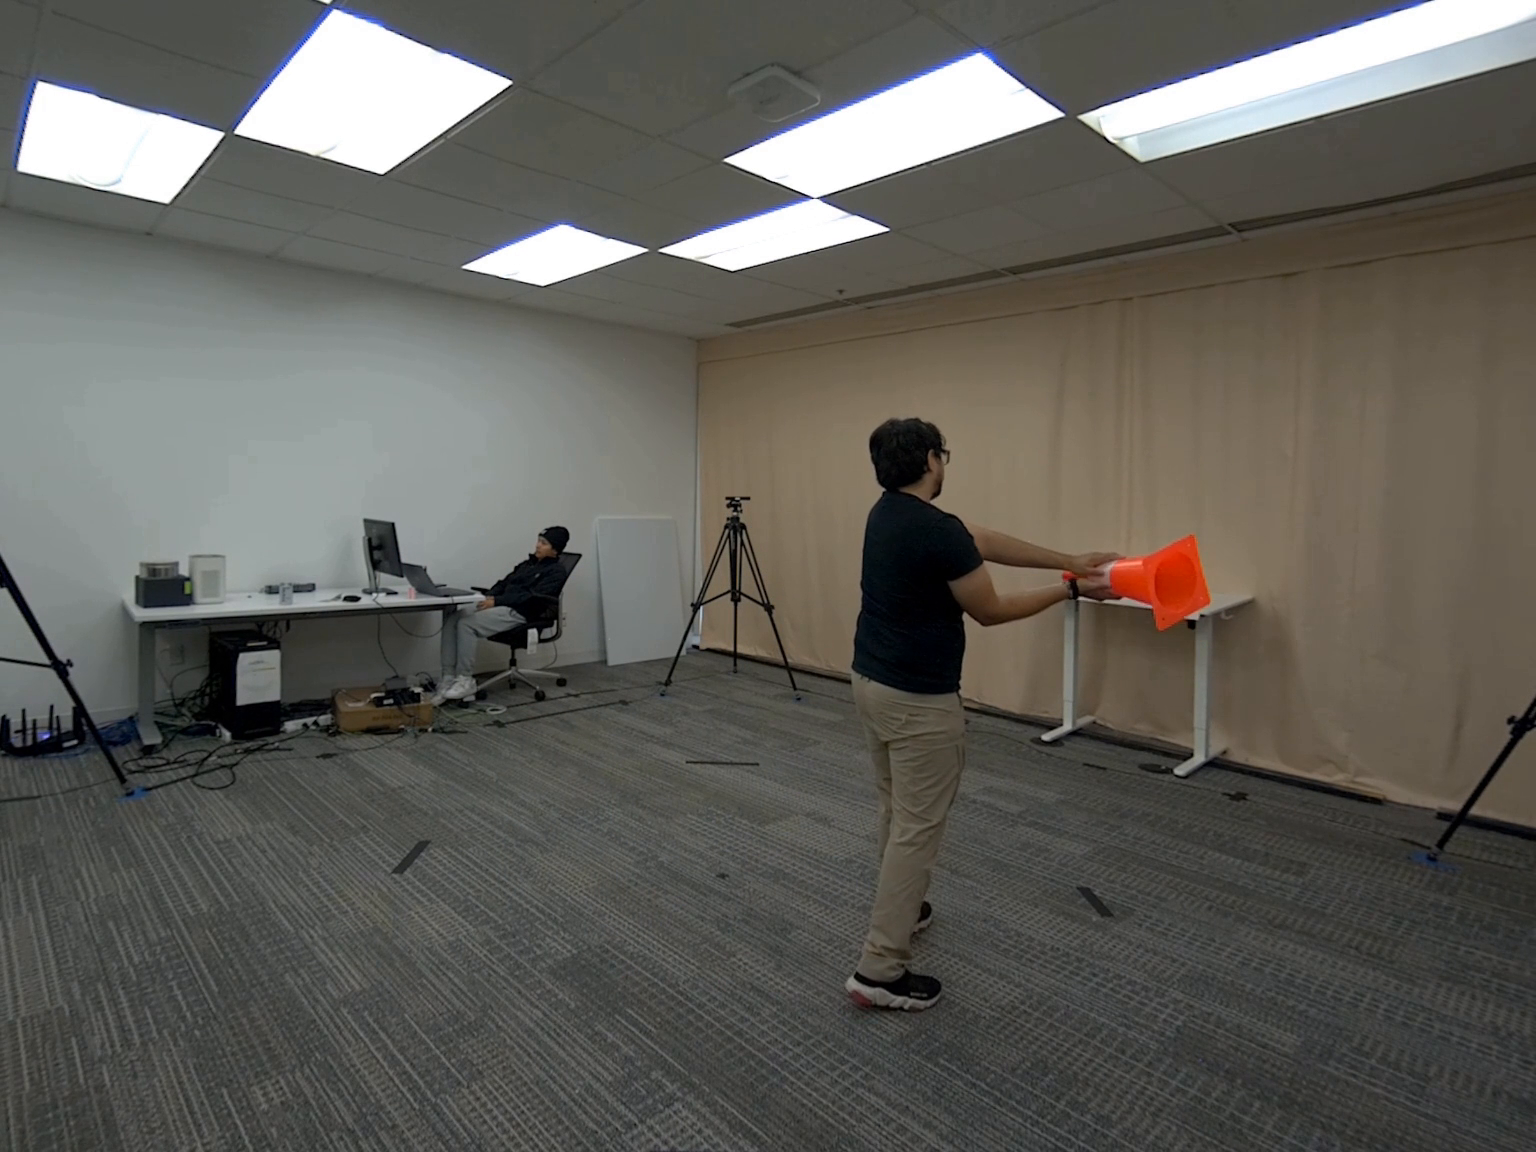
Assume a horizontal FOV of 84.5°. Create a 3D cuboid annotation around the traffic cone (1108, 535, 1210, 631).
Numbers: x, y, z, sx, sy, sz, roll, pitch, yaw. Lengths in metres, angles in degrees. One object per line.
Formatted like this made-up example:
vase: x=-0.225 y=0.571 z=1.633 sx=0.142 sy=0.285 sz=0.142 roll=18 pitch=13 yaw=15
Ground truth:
traffic cone: x=0.964 y=0.008 z=2.365 sx=0.203 sy=0.201 sz=0.391 roll=-20 pitch=11 yaw=-22
